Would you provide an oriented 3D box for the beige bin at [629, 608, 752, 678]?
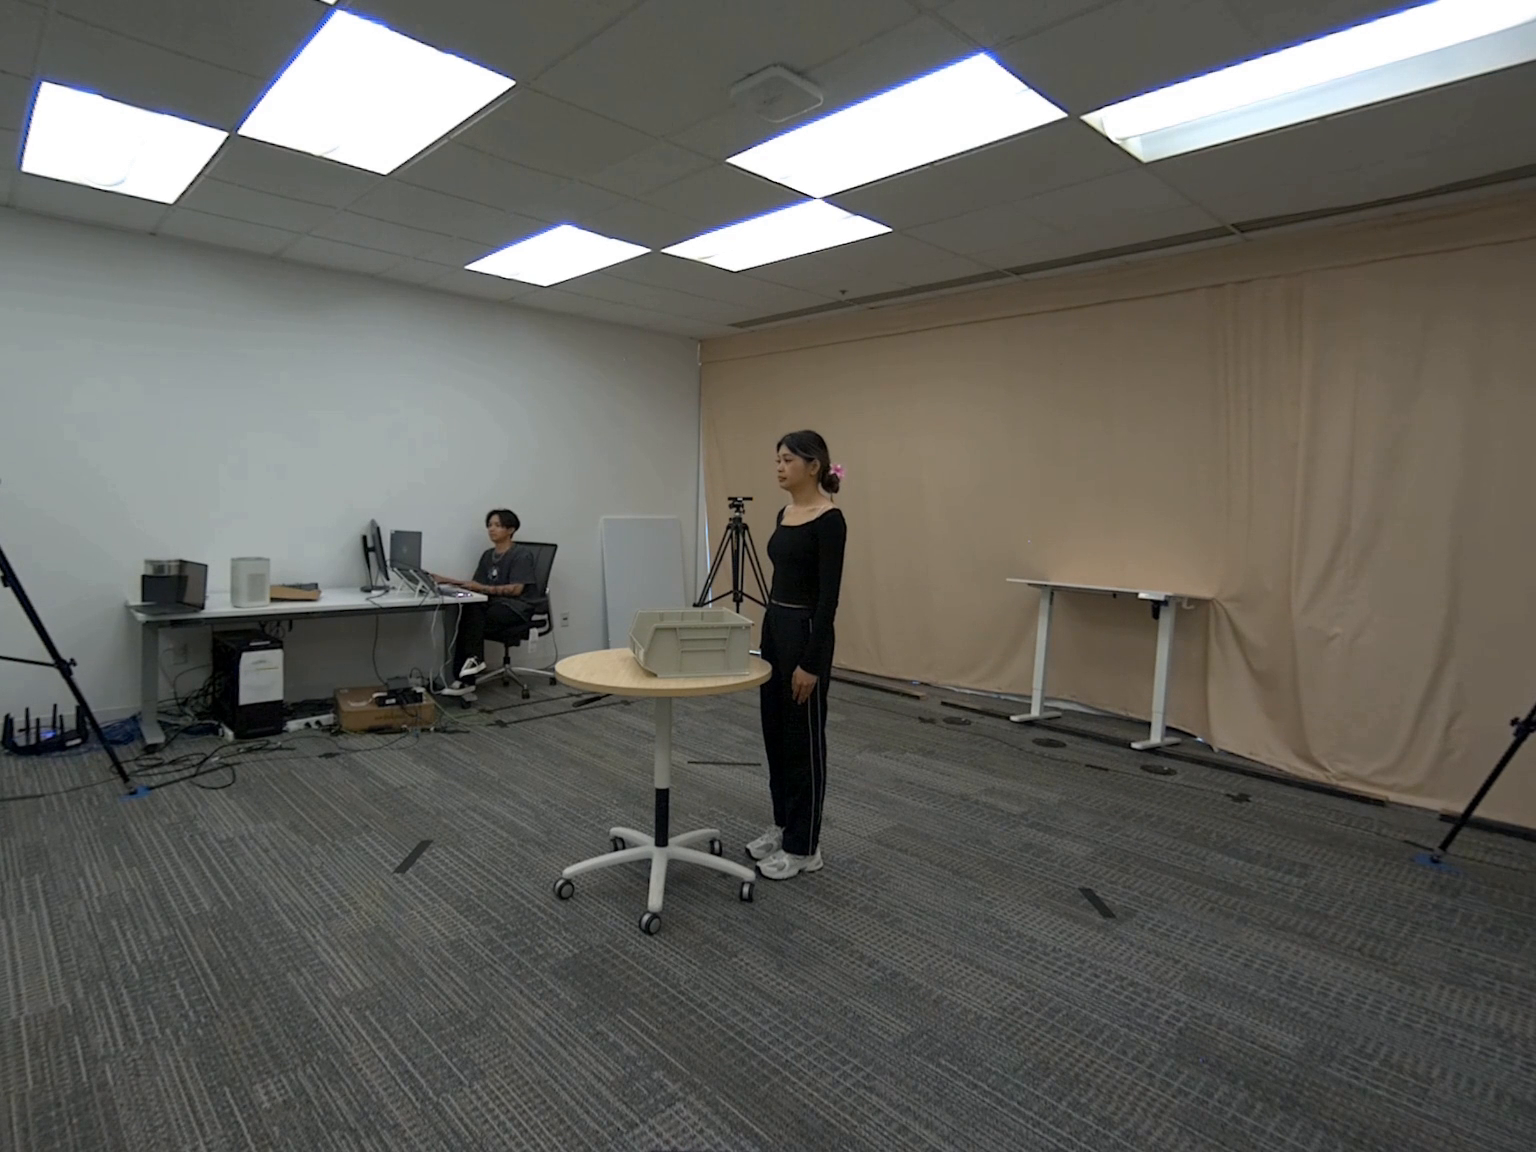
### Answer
[{"bbox_3d":[-0.289,0.232,2.992,0.373,0.188,0.428,0,4,-15],"label":"beige bin"}]
